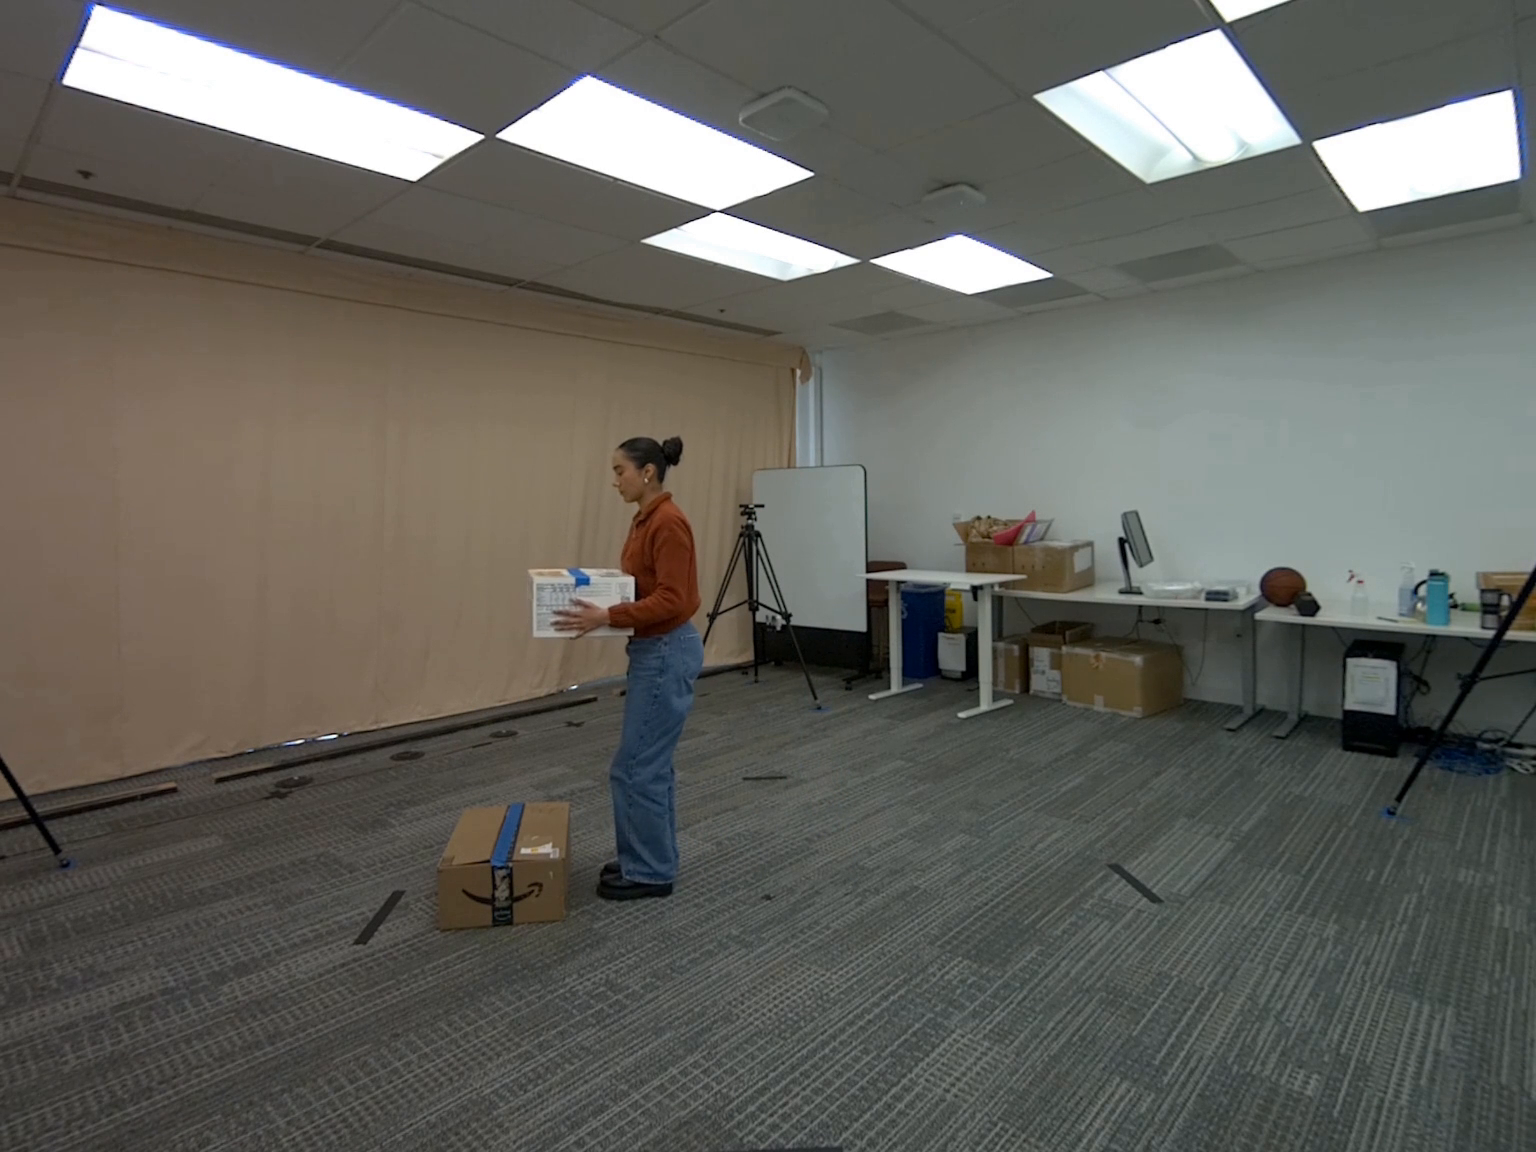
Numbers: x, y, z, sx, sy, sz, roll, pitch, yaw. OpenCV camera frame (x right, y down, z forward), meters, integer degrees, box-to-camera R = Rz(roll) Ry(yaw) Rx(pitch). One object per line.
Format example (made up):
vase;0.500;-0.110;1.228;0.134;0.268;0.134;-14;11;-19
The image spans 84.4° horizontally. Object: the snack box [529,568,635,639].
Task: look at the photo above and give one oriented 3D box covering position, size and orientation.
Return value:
snack box;-0.674;0.092;3.011;0.335;0.205;0.413;-1;4;-17
